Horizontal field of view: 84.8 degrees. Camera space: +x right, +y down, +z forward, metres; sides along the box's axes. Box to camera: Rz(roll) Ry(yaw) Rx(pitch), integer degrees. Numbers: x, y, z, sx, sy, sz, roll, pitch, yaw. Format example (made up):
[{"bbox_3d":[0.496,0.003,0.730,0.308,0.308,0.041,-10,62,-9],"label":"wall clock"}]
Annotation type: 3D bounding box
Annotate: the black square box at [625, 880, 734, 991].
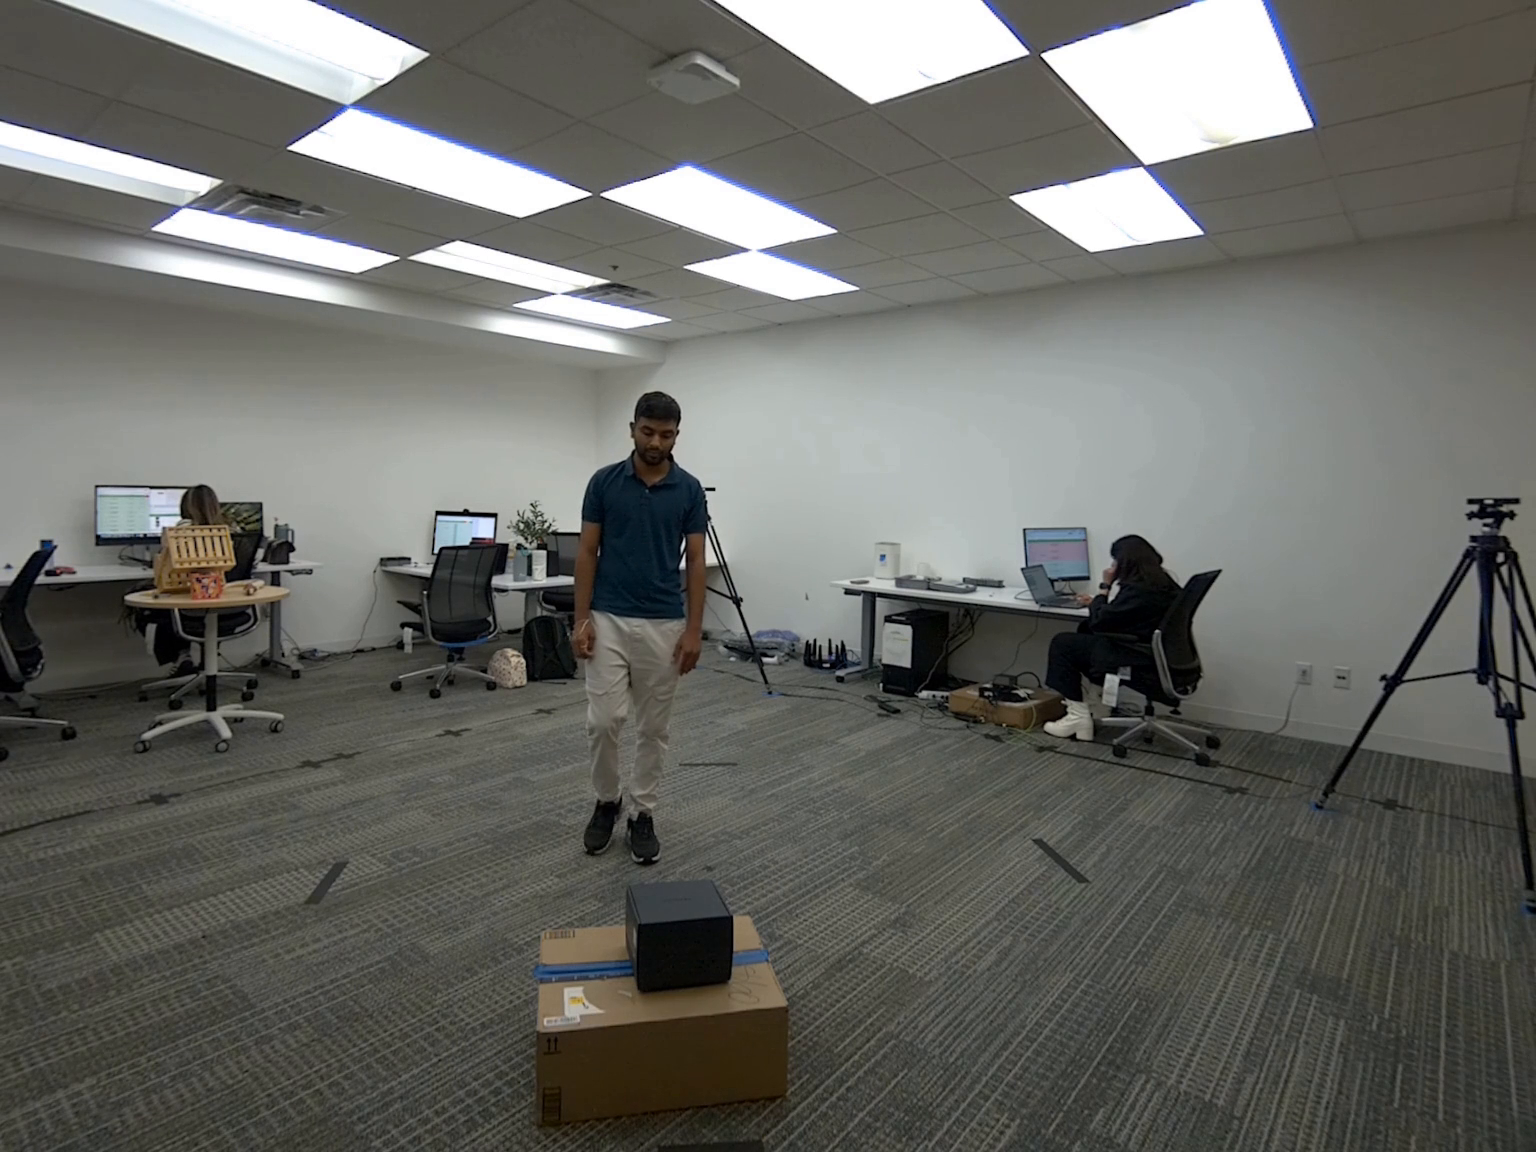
[{"bbox_3d":[-0.227,0.867,2.098,0.224,0.155,0.221,1,3,-16],"label":"black square box"}]
